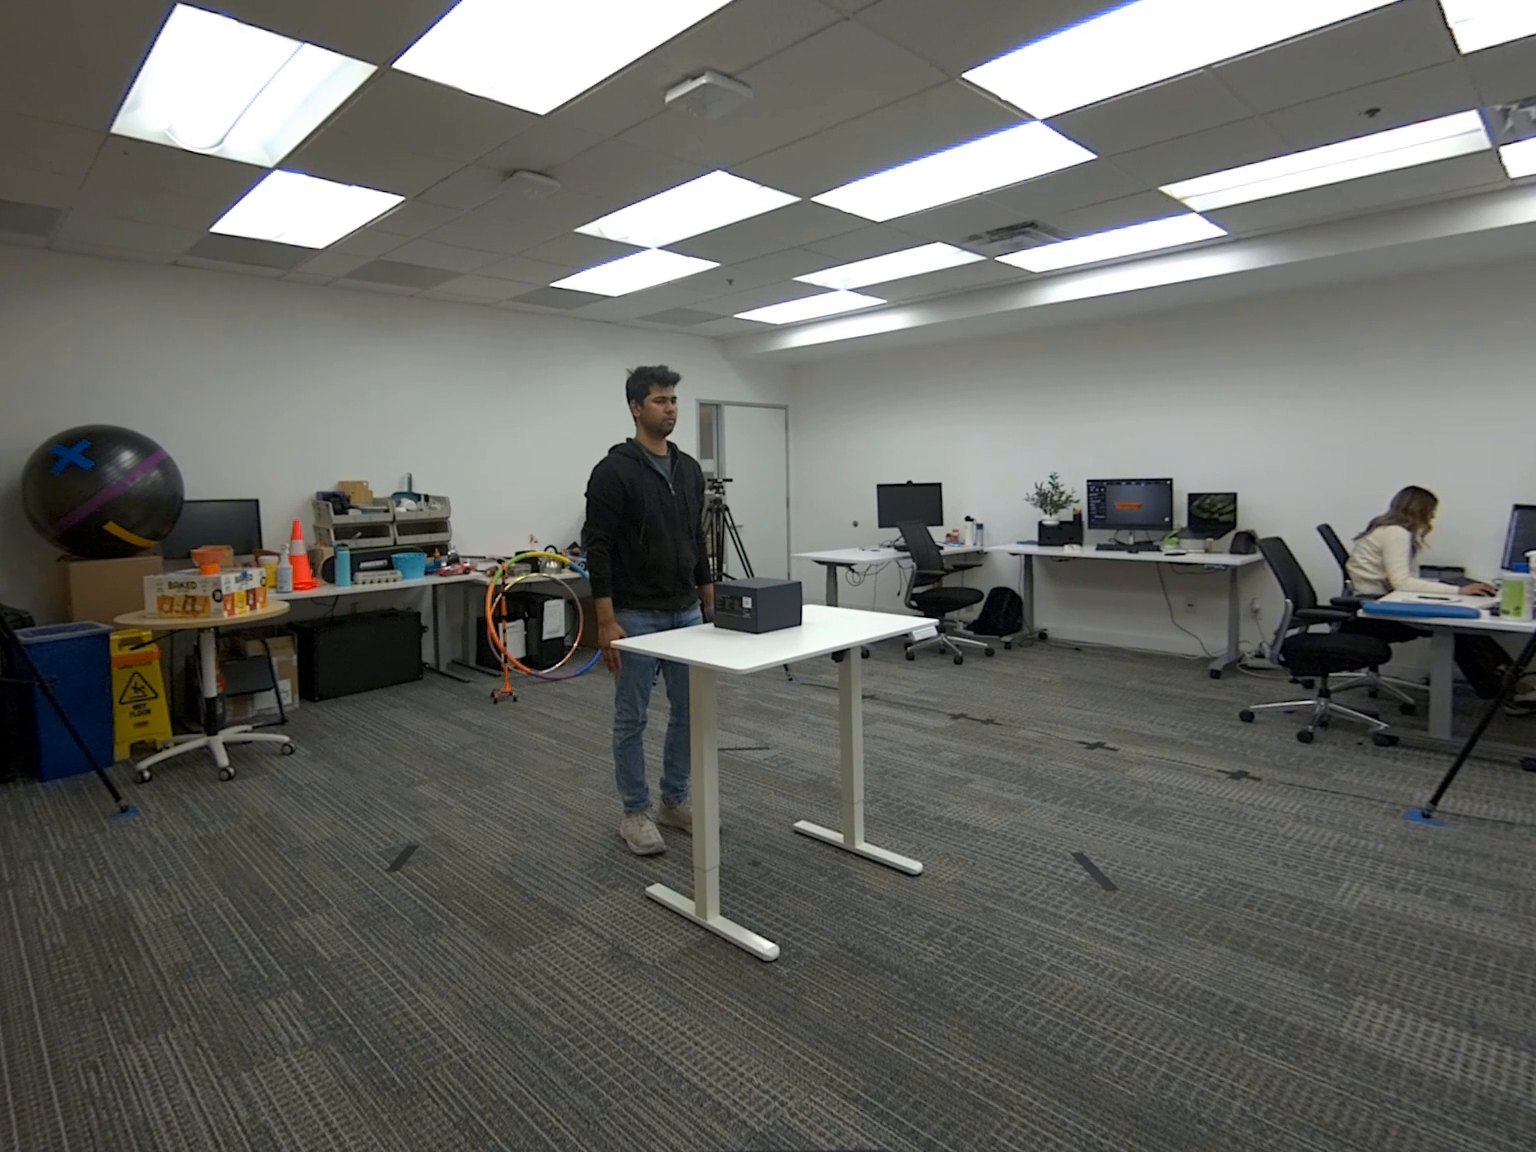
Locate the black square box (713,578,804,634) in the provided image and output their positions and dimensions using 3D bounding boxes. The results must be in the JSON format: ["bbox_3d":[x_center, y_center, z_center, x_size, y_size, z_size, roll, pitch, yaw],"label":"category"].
[{"bbox_3d":[-0.034,0.096,2.969,0.222,0.155,0.224,-7,8,-44],"label":"black square box"}]
